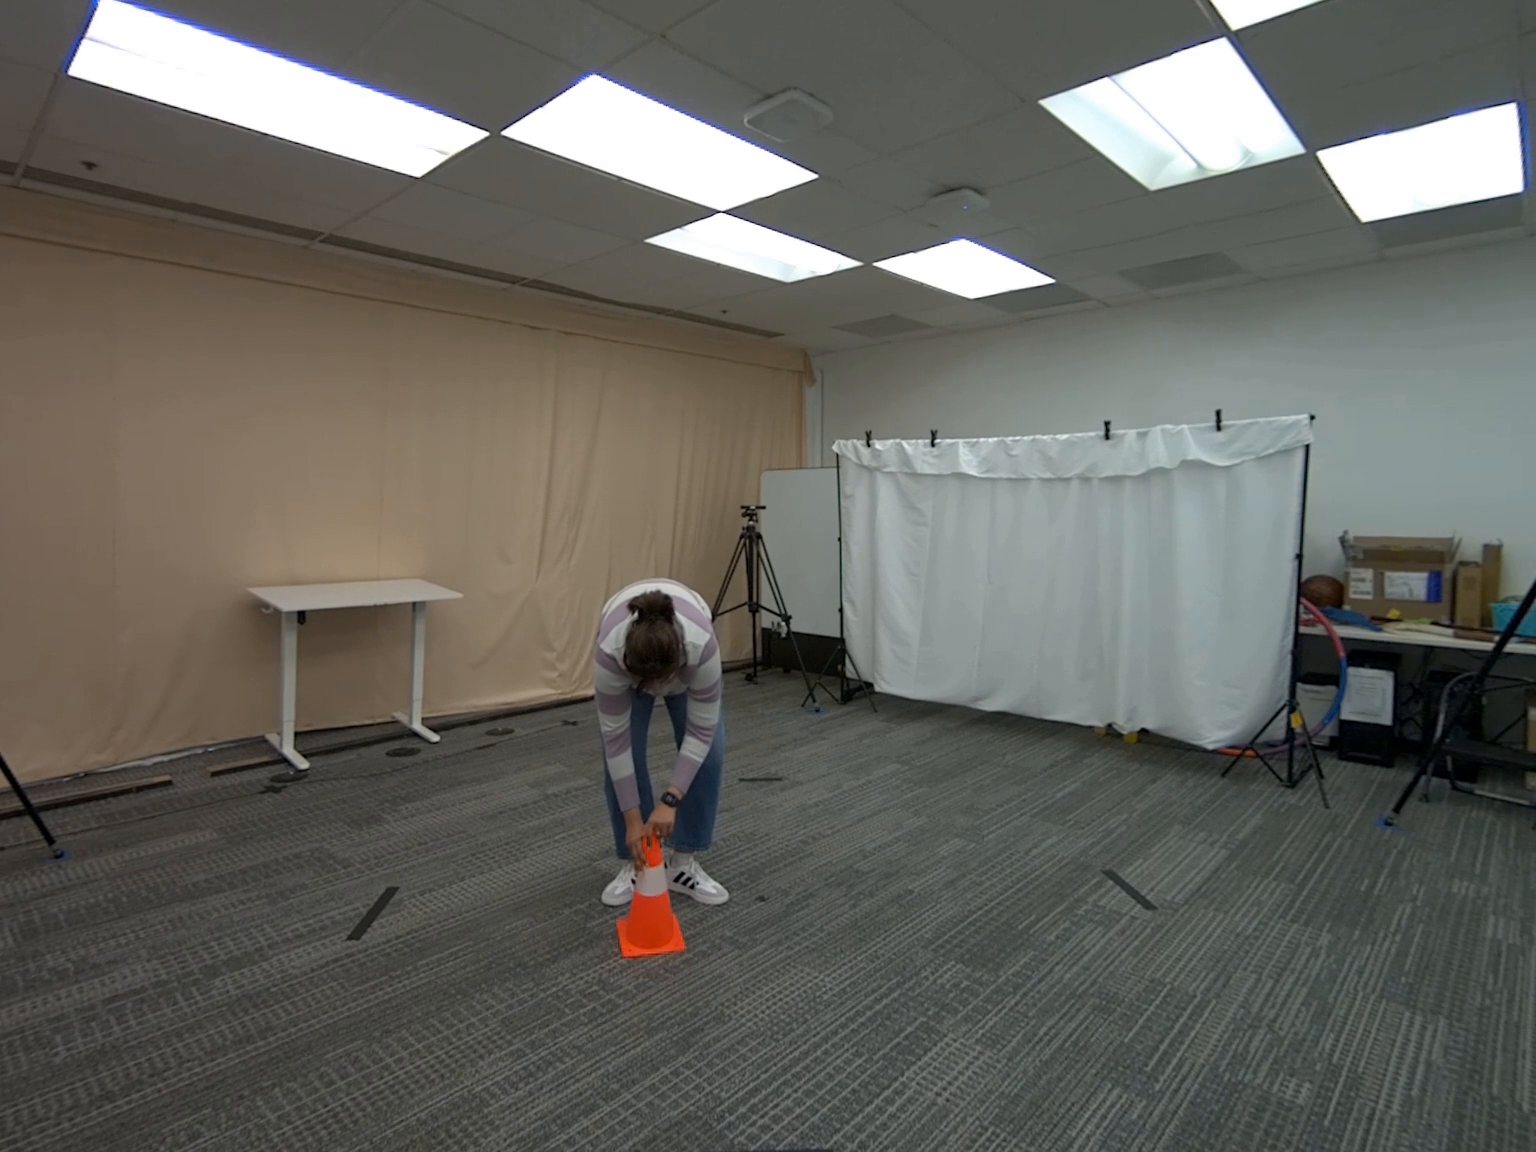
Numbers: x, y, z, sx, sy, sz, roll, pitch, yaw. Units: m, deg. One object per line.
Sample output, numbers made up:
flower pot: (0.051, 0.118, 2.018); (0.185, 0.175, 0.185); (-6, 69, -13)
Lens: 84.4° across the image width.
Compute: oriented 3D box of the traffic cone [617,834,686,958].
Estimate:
traffic cone: (-0.379, 0.964, 2.678); (0.202, 0.381, 0.207); (-3, 10, -13)
